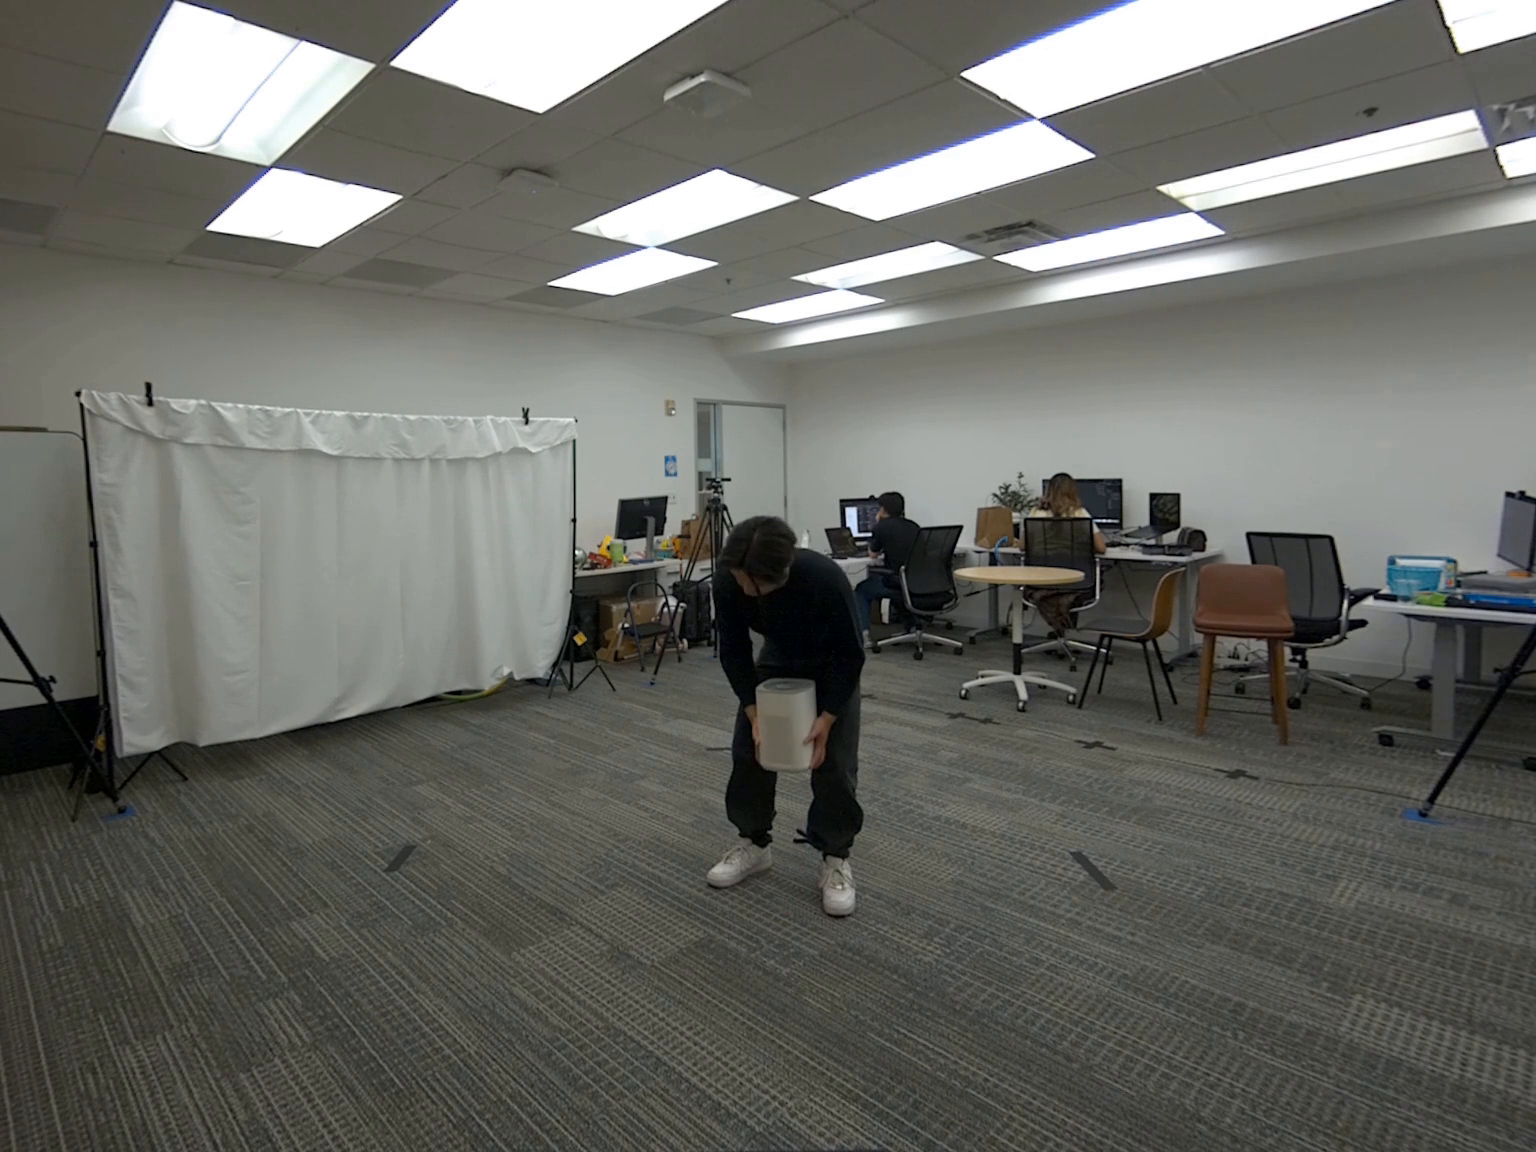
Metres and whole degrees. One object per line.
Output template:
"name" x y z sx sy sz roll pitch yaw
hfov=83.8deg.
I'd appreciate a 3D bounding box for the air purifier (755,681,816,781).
"air purifier" 0.065 0.486 2.734 0.175 0.265 0.168 -3 3 25
